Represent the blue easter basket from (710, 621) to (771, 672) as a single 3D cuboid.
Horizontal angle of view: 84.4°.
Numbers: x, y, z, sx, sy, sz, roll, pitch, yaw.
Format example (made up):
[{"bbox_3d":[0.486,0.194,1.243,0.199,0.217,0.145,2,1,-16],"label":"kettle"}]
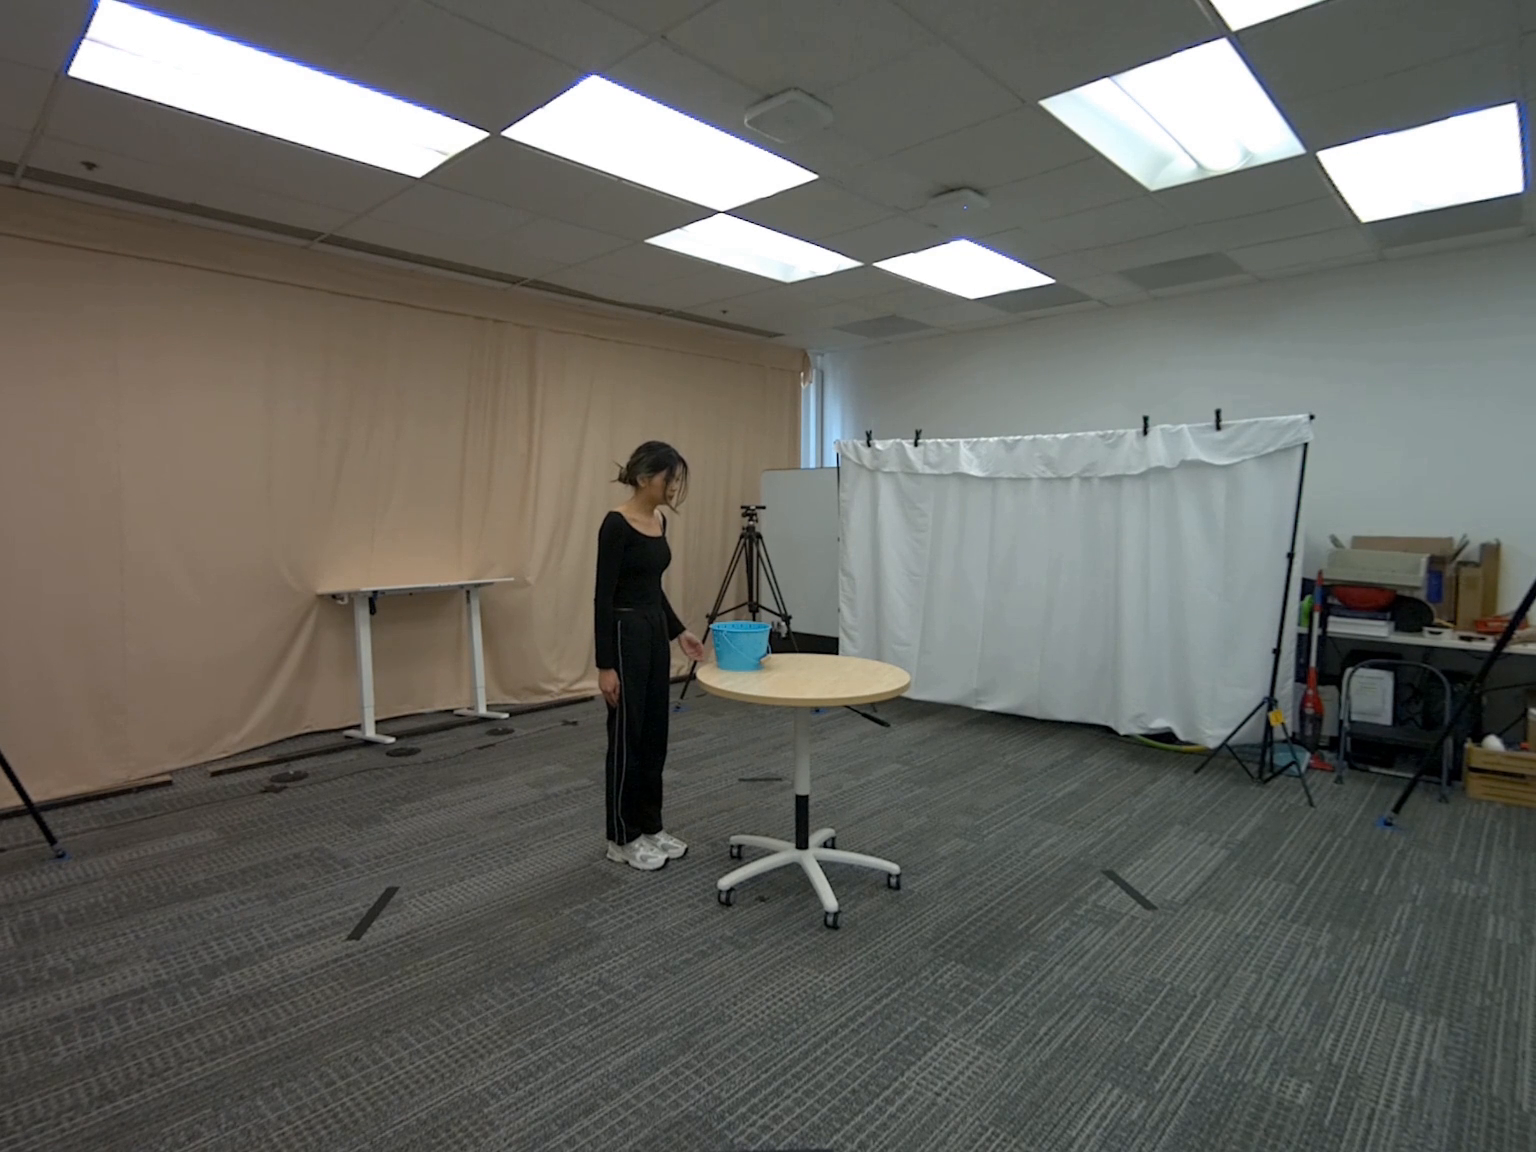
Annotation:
[{"bbox_3d":[-0.111,0.271,3.155,0.243,0.155,0.244,-2,5,-2],"label":"blue easter basket"}]
